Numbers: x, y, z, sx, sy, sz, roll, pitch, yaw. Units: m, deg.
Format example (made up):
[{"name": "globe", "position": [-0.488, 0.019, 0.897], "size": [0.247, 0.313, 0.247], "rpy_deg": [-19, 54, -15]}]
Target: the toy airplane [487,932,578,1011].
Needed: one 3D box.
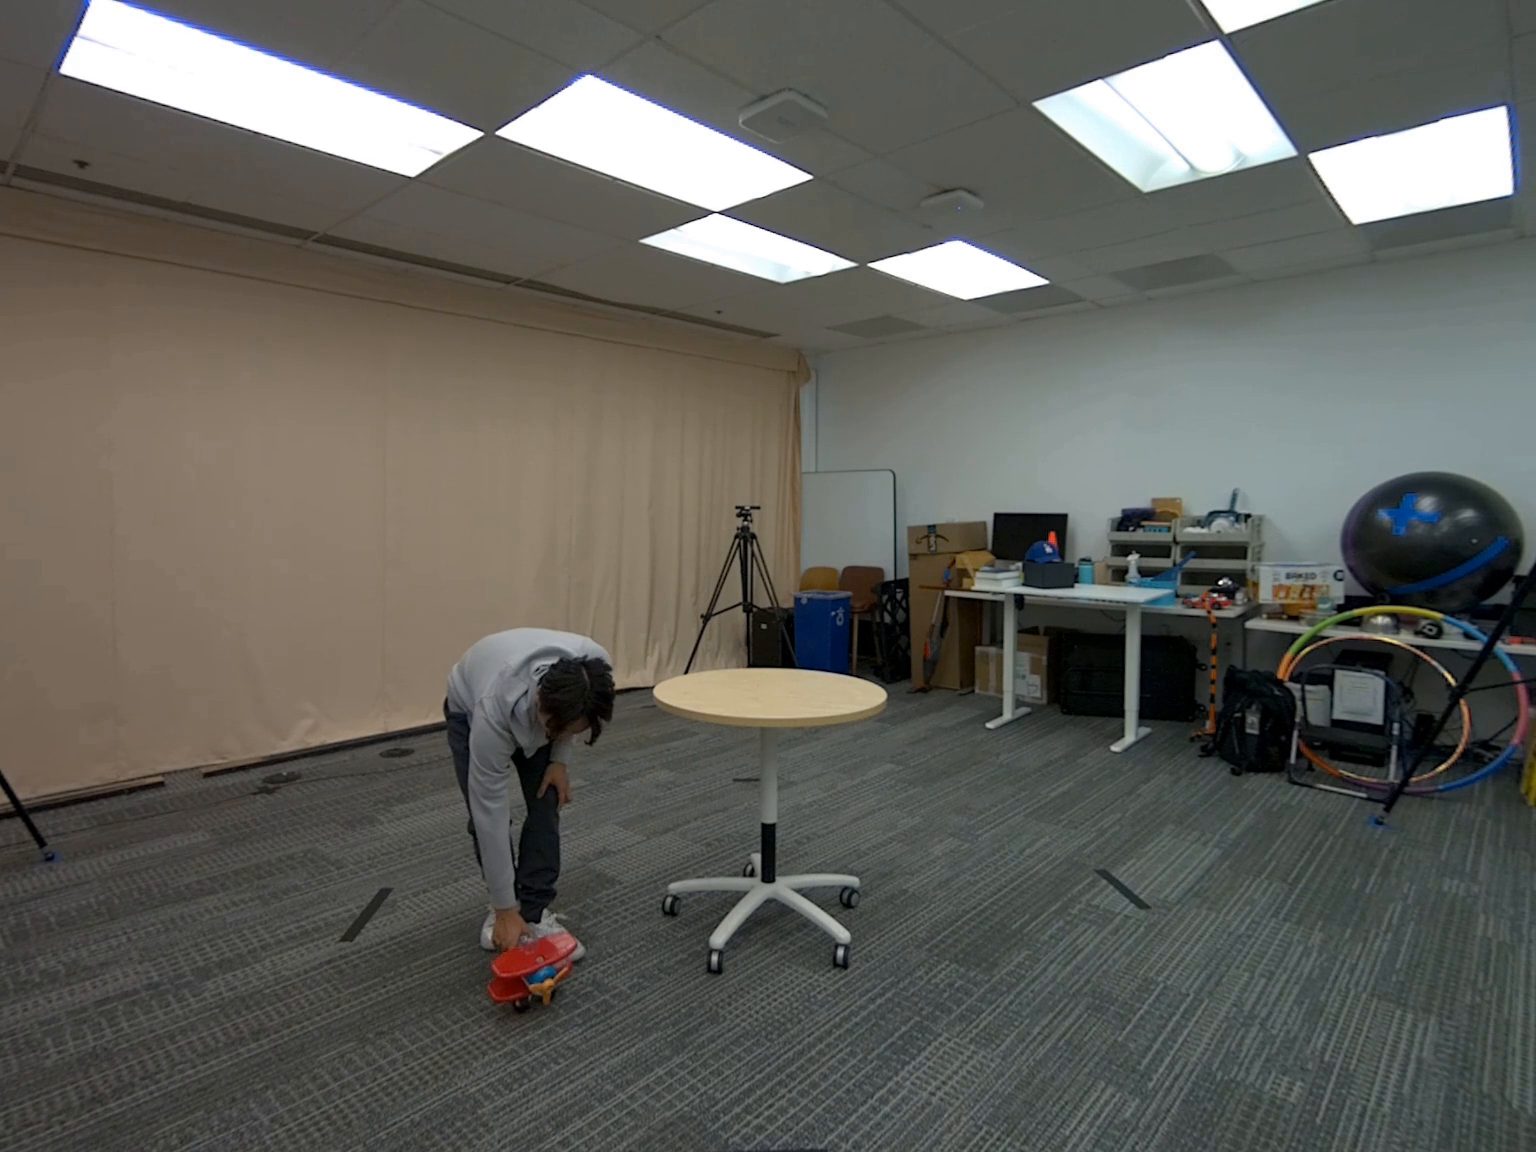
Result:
[{"name": "toy airplane", "position": [-0.693, 1.092, 2.369], "size": [0.263, 0.156, 0.248], "rpy_deg": [30, 27, 10]}]
